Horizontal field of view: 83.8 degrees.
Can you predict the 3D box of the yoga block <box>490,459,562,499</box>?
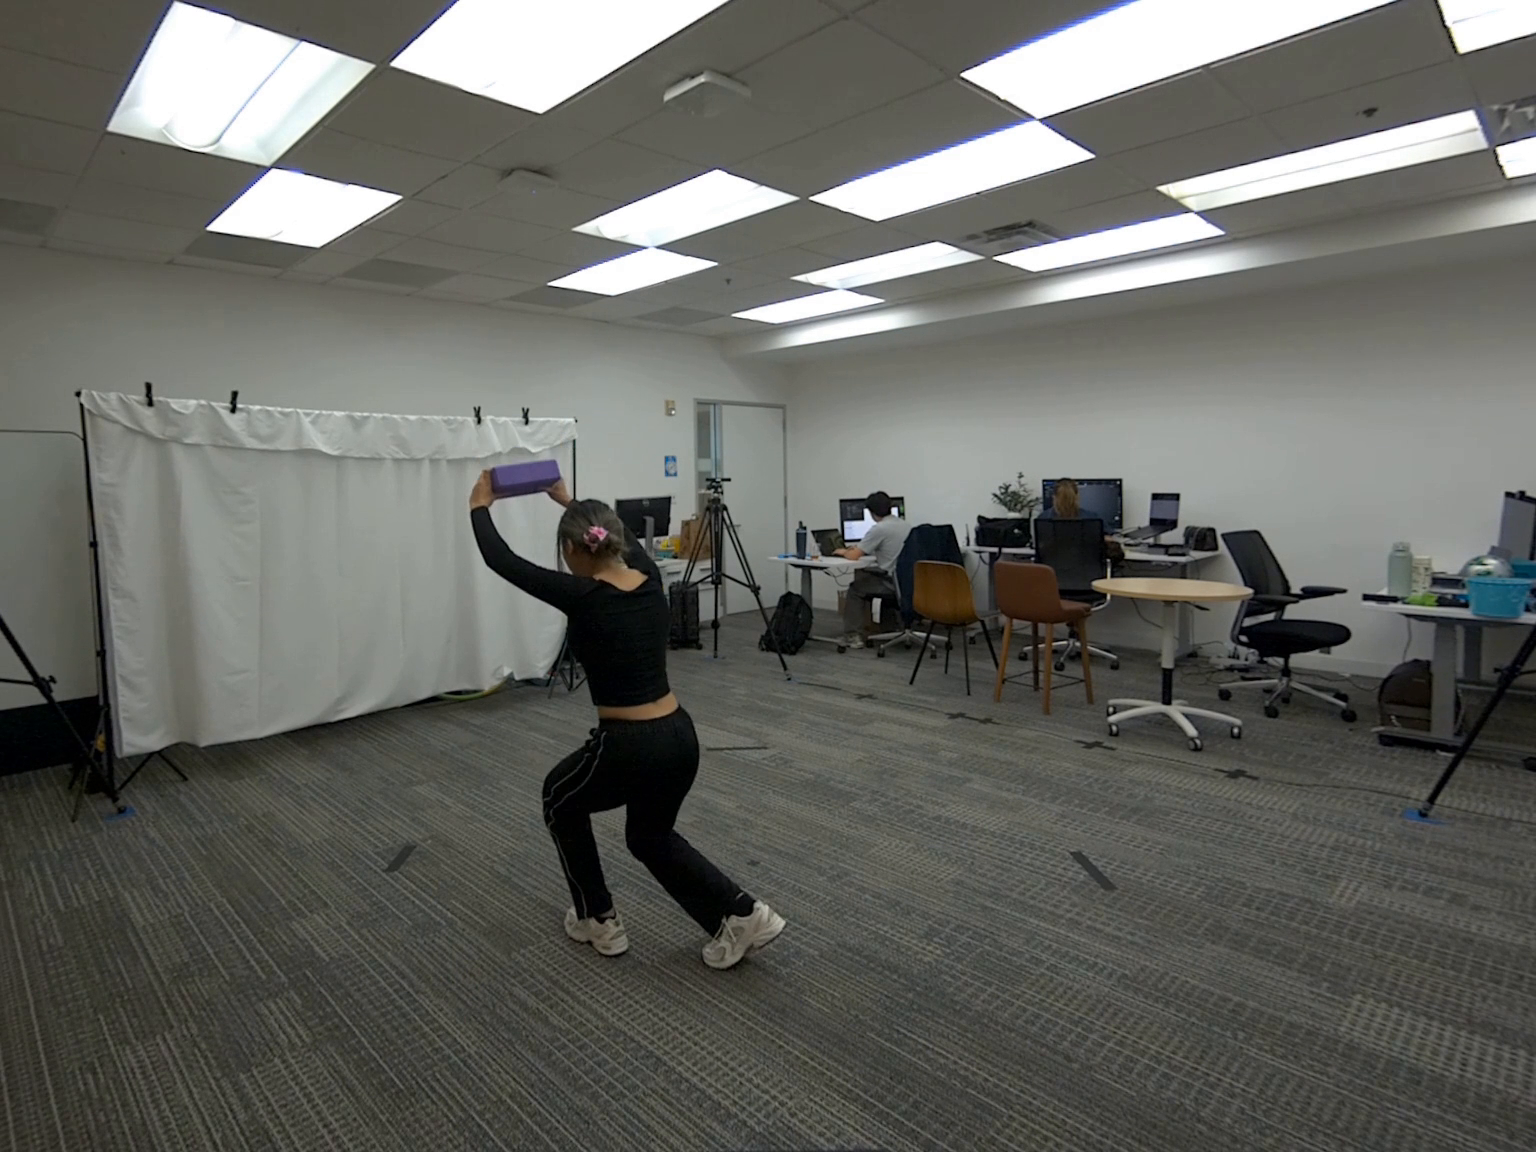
[{"bbox_3d":[-0.810,-0.318,2.788,0.224,0.077,0.151,-15,-4,-37],"label":"yoga block"}]
